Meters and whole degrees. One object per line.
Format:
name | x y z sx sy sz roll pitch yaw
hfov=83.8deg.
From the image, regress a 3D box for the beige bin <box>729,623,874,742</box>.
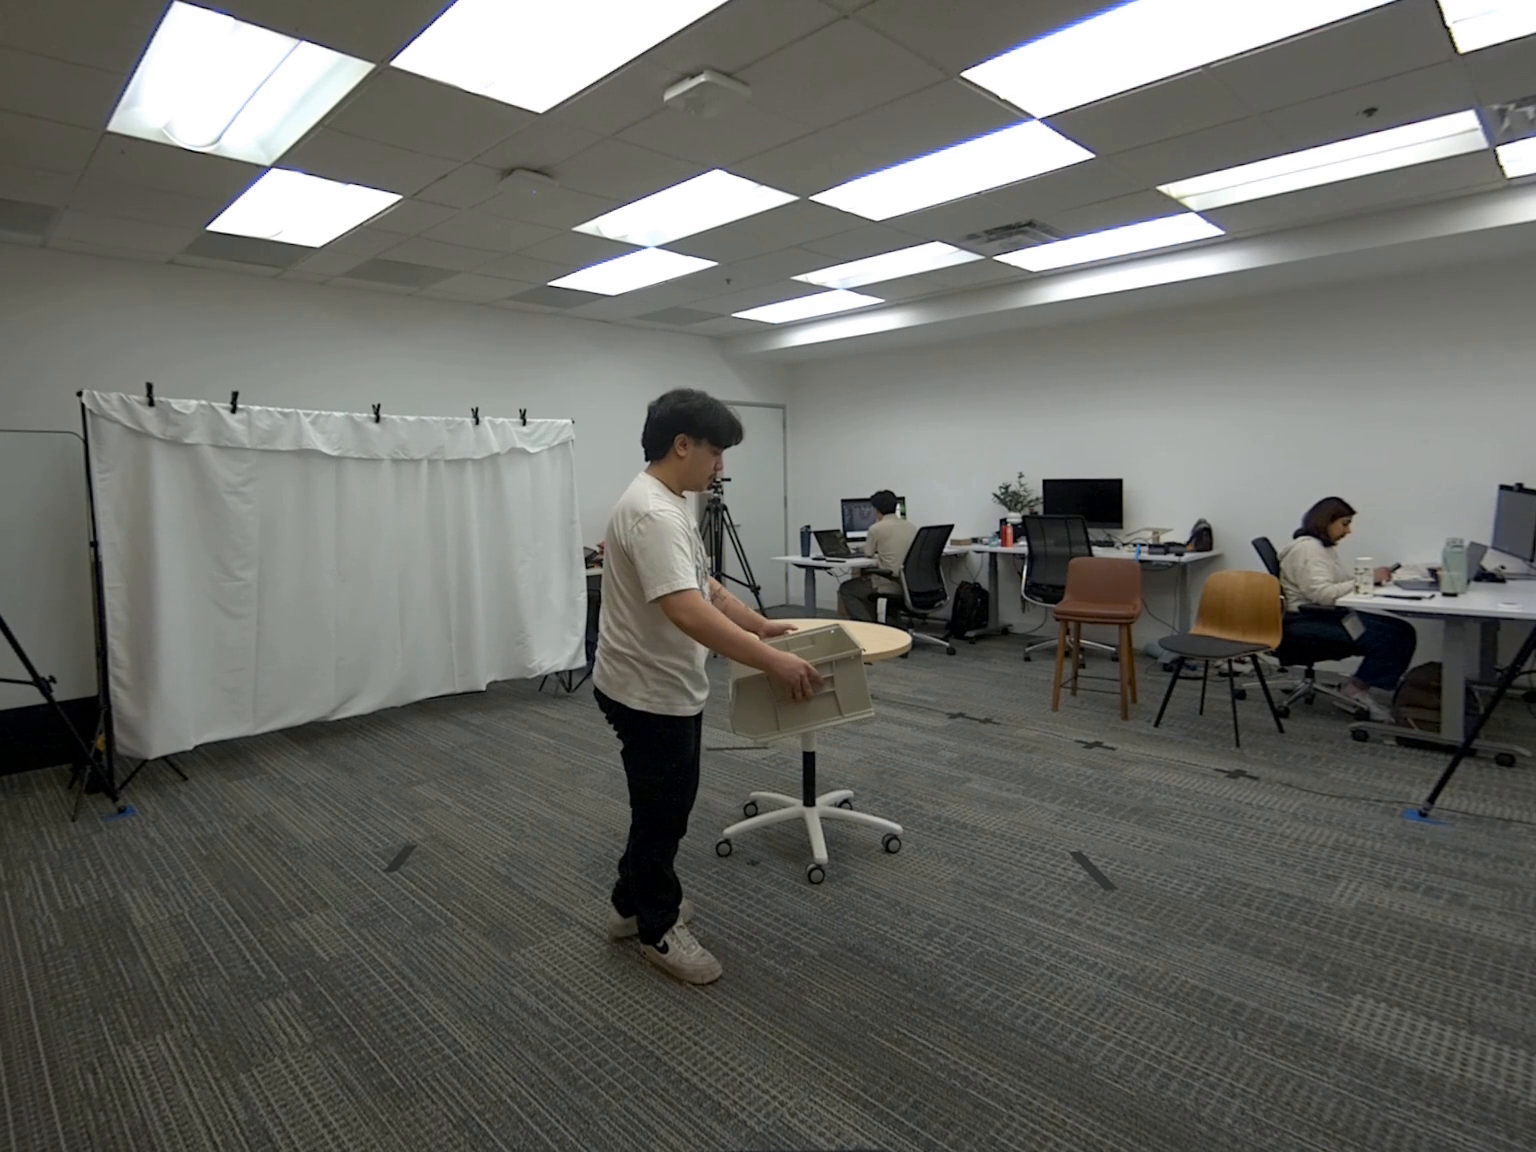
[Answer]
beige bin | 0.077 0.296 2.379 0.376 0.188 0.426 -11 7 -4
